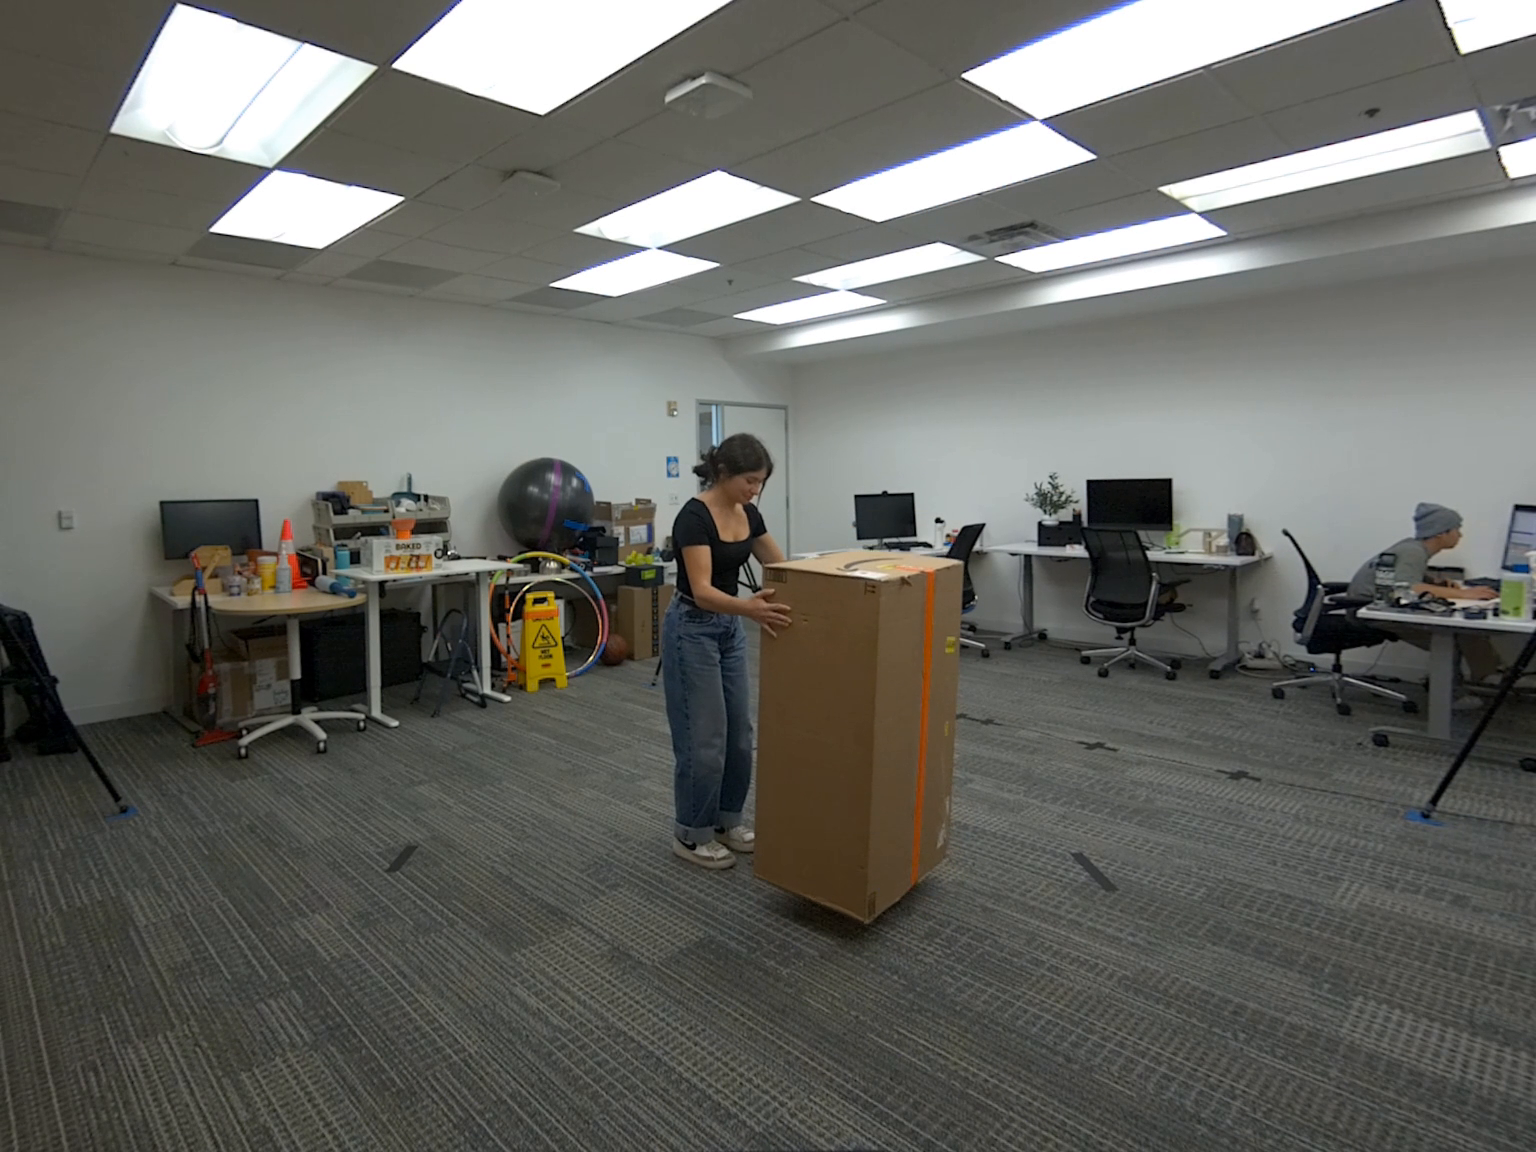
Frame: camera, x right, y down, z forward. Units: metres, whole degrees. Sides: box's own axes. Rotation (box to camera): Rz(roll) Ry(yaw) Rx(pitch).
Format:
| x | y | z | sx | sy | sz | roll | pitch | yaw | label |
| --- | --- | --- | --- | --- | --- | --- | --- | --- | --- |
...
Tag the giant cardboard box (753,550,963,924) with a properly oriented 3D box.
| x | y | z | sx | sy | sz | roll | pitch | yaw | label |
| --- | --- | --- | --- | --- | --- | --- | --- | --- | --- |
| 0.306 | 0.465 | 2.793 | 0.439 | 1.020 | 0.563 | 6 | 8 | 36 | giant cardboard box |
